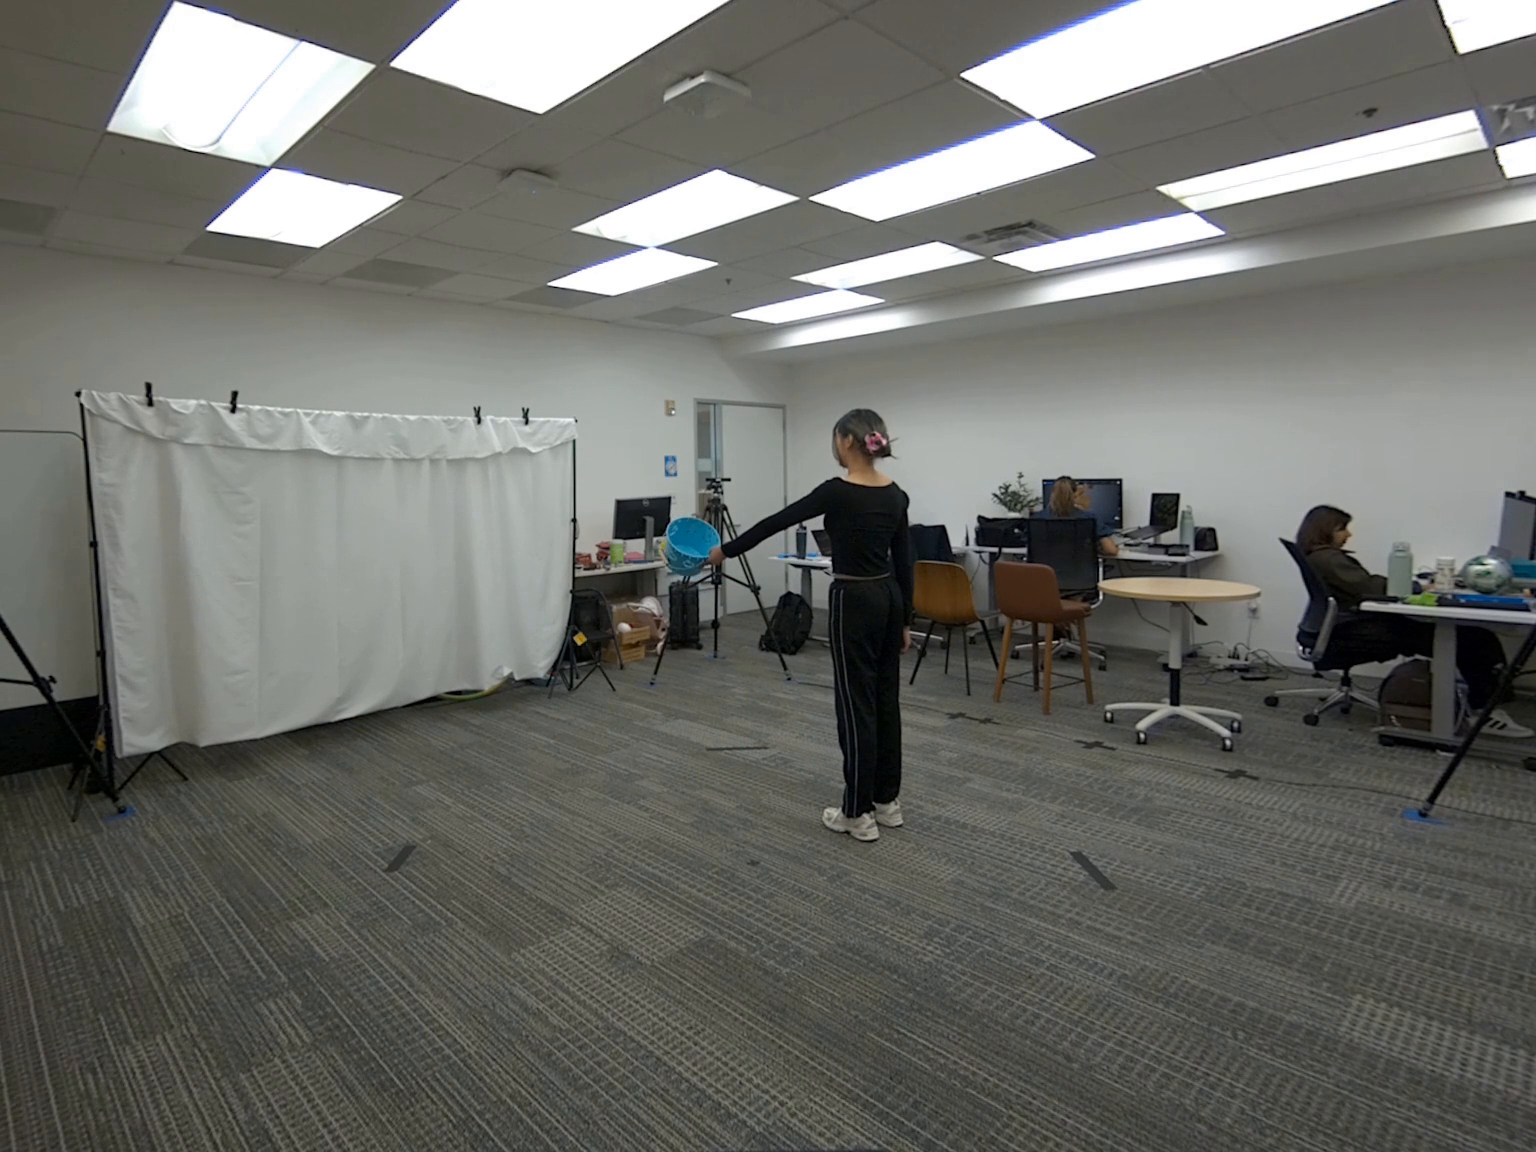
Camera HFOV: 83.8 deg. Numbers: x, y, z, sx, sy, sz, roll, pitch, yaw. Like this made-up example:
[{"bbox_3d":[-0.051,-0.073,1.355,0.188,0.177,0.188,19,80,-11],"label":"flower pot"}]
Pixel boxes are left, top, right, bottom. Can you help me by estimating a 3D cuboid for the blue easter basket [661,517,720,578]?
[{"bbox_3d":[-0.327,-0.100,3.603,0.238,0.252,0.154,-4,-38,-26],"label":"blue easter basket"}]
